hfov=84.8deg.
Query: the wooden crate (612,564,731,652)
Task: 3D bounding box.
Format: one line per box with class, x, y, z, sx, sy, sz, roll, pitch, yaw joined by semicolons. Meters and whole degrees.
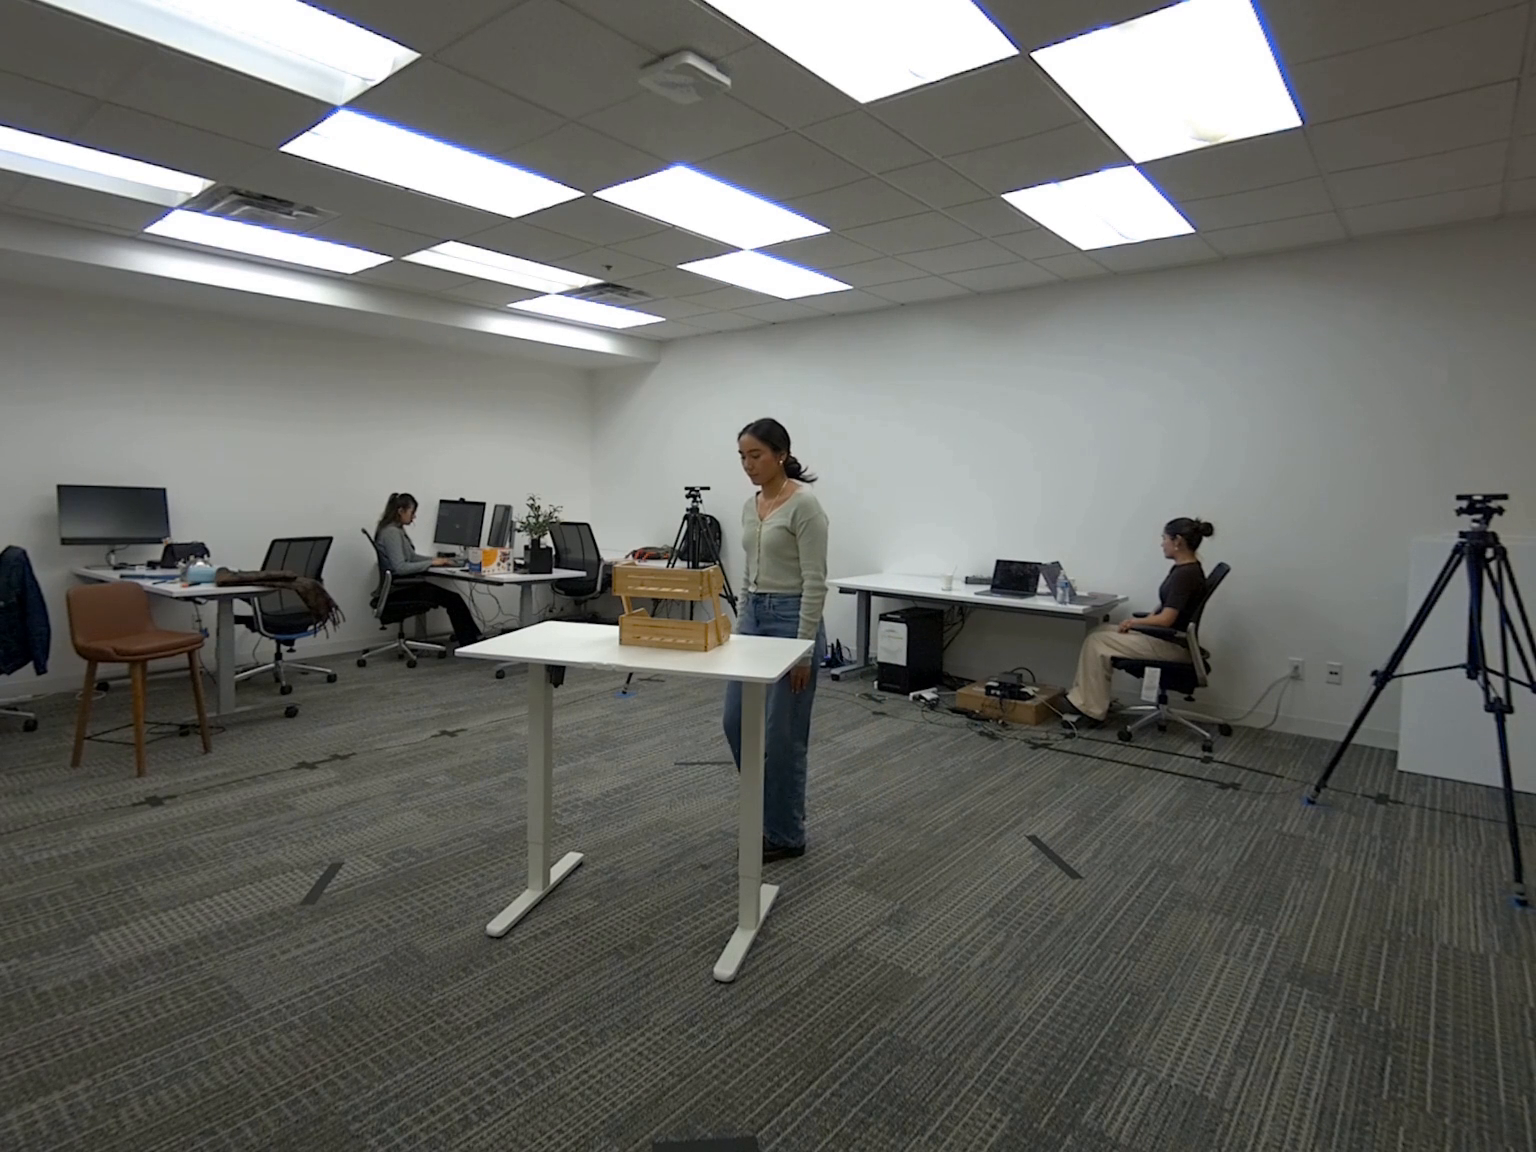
wooden crate;-0.318;0.083;2.765;0.331;0.272;0.298;3;6;17
